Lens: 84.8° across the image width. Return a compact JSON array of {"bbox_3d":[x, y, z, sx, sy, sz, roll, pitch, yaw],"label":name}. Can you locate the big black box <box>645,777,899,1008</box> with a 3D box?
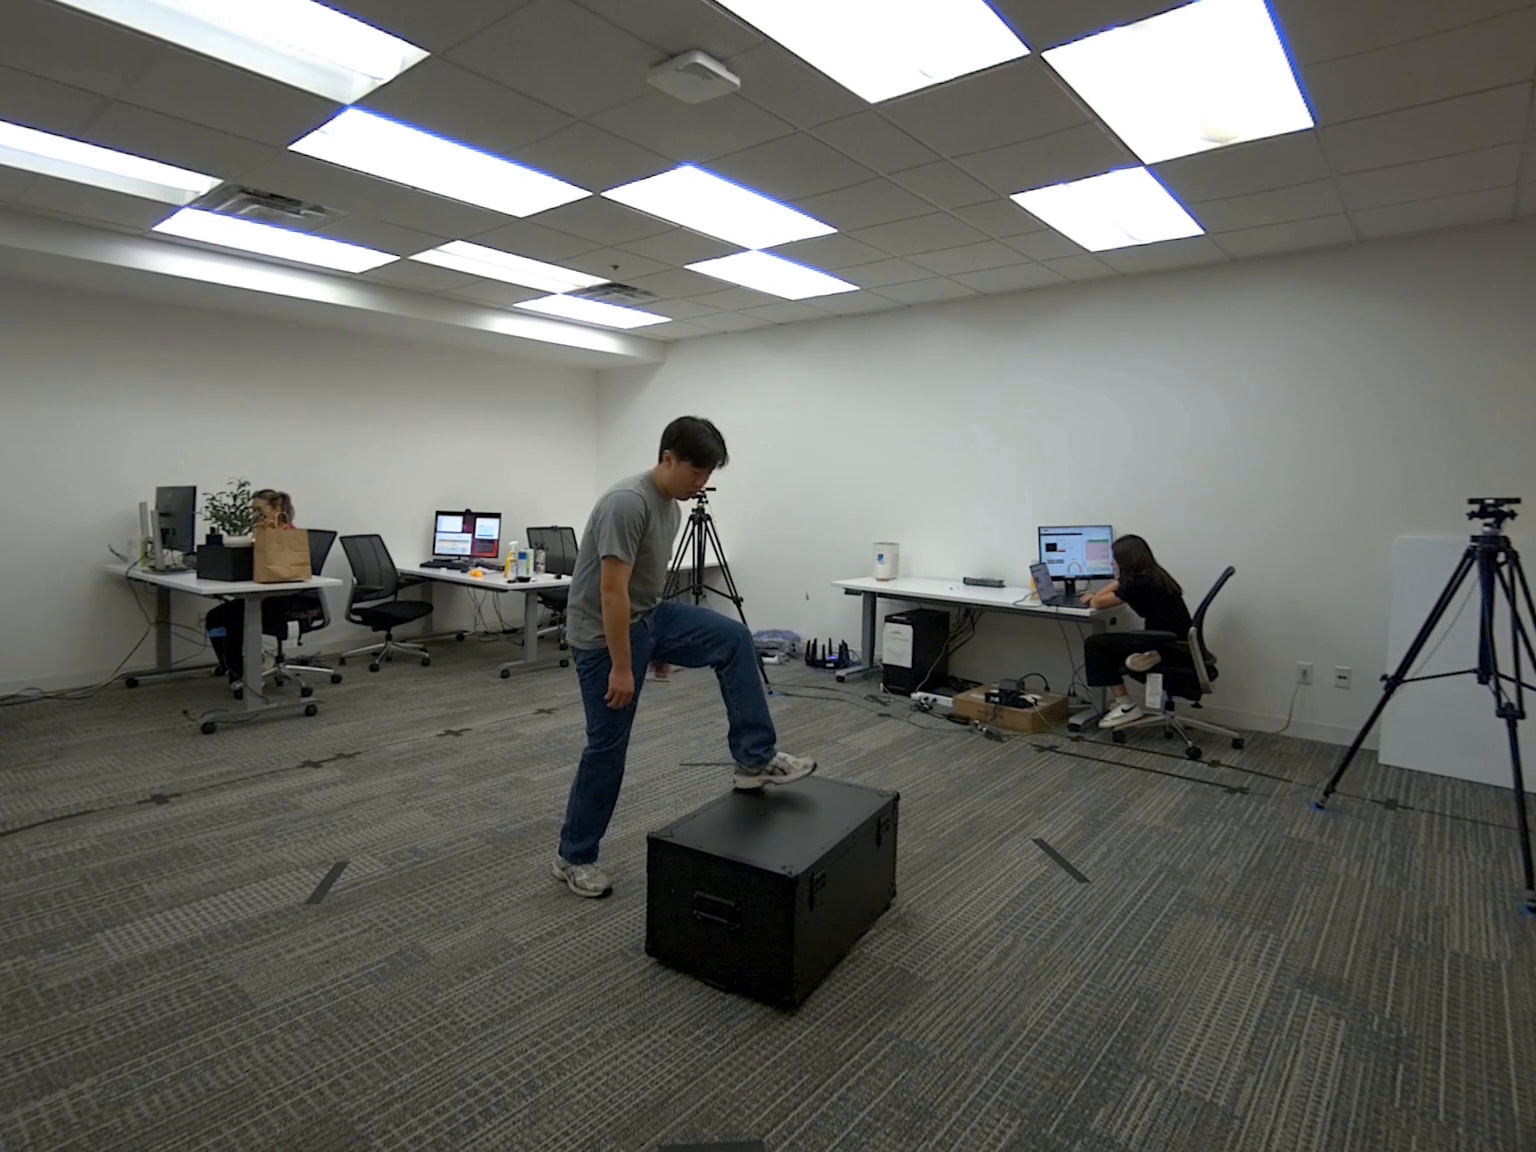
[{"bbox_3d":[0.051,0.923,2.699,0.537,0.395,0.840,3,6,29],"label":"big black box"}]
